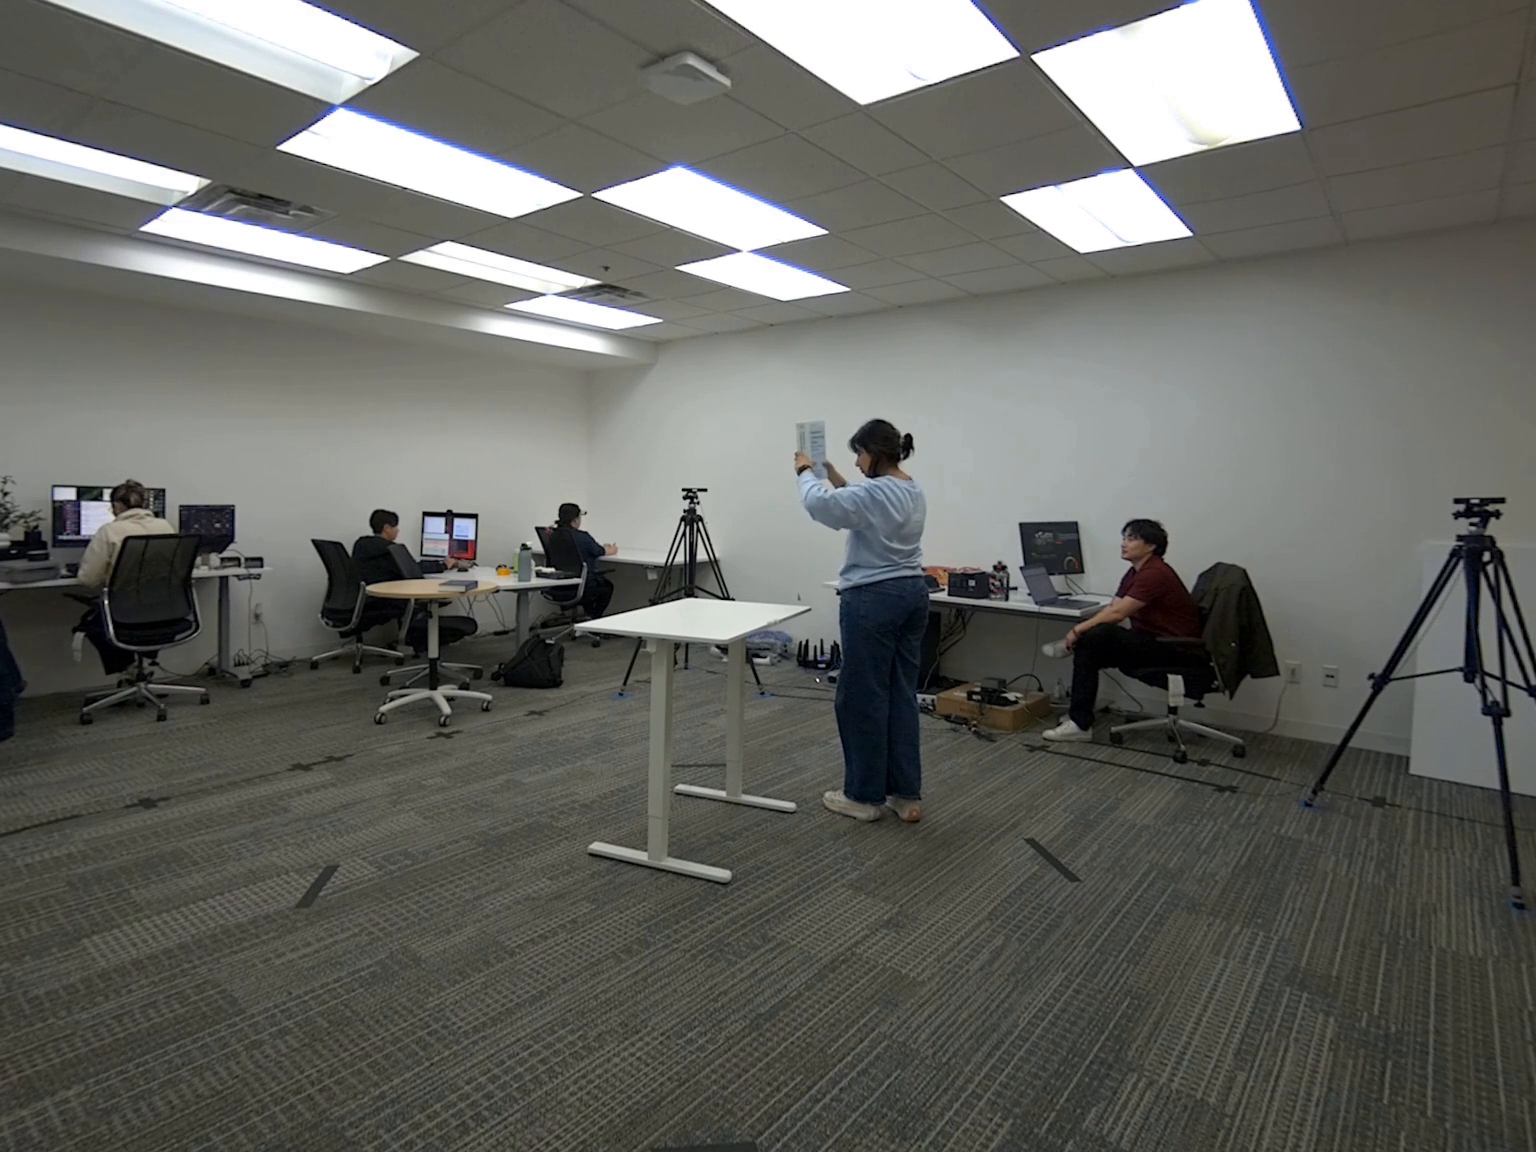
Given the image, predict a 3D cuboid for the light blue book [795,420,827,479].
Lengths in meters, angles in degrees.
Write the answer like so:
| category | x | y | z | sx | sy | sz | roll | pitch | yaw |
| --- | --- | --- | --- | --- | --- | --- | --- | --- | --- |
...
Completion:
| category | x | y | z | sx | sy | sz | roll | pitch | yaw |
| --- | --- | --- | --- | --- | --- | --- | --- | --- | --- |
| light blue book | 0.187 | -0.562 | 3.777 | 0.060 | 0.259 | 0.188 | 0 | 9 | 28 |
